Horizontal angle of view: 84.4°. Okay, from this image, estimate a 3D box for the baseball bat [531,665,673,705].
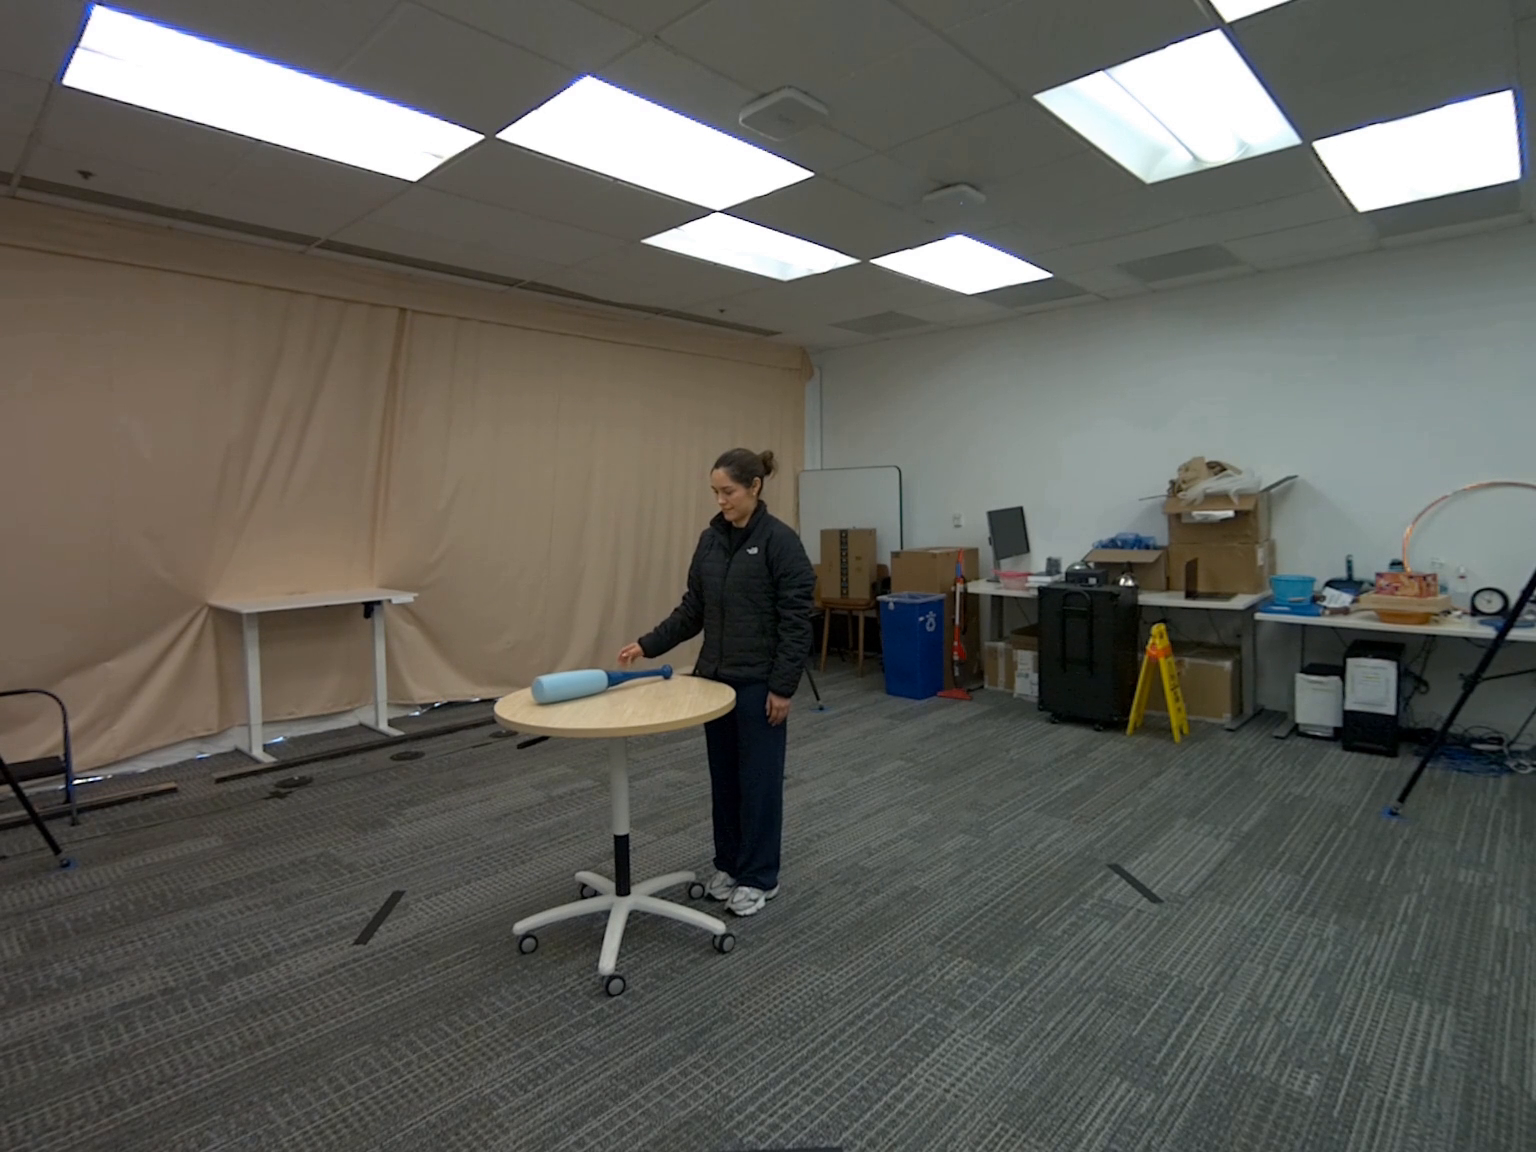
[{"bbox_3d":[-0.523,0.352,2.808,0.526,0.089,0.092,-2,3,-45],"label":"baseball bat"}]
